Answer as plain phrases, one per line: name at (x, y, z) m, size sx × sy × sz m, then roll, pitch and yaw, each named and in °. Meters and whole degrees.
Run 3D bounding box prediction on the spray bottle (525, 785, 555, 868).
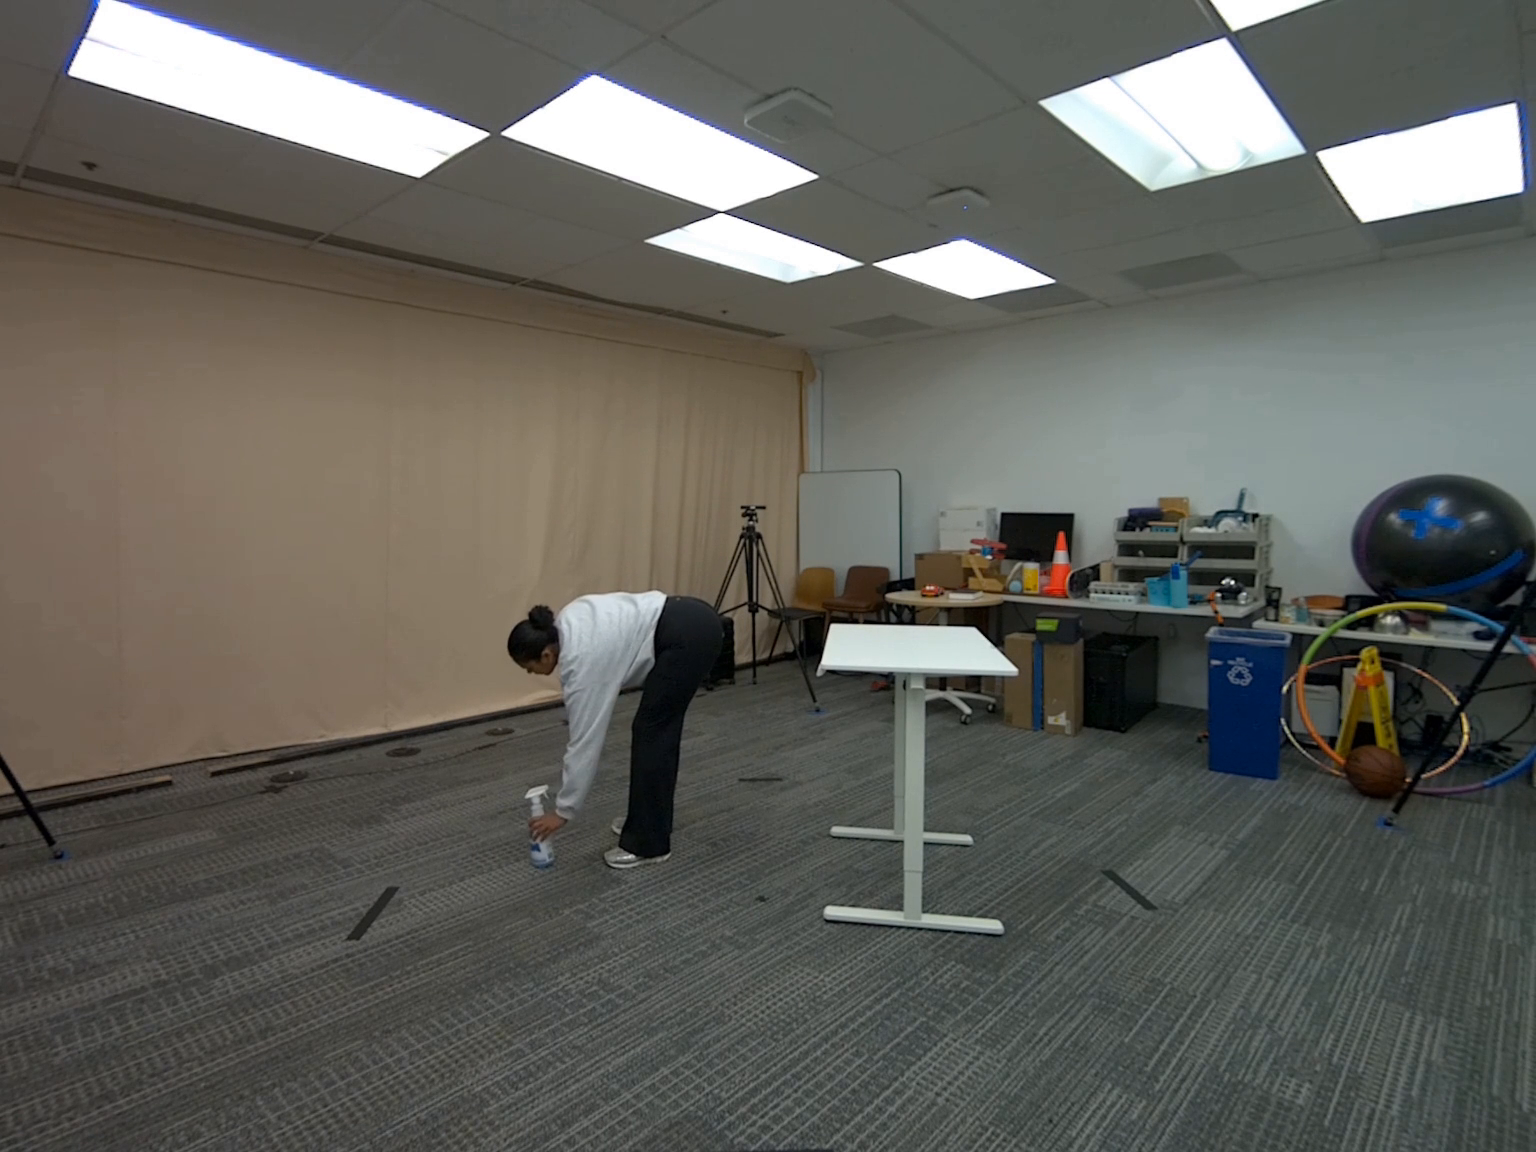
spray bottle at (-0.894, 0.975, 3.295) m, size 0.090 × 0.297 × 0.086 m, roll -7°, pitch 0°, yaw 4°
